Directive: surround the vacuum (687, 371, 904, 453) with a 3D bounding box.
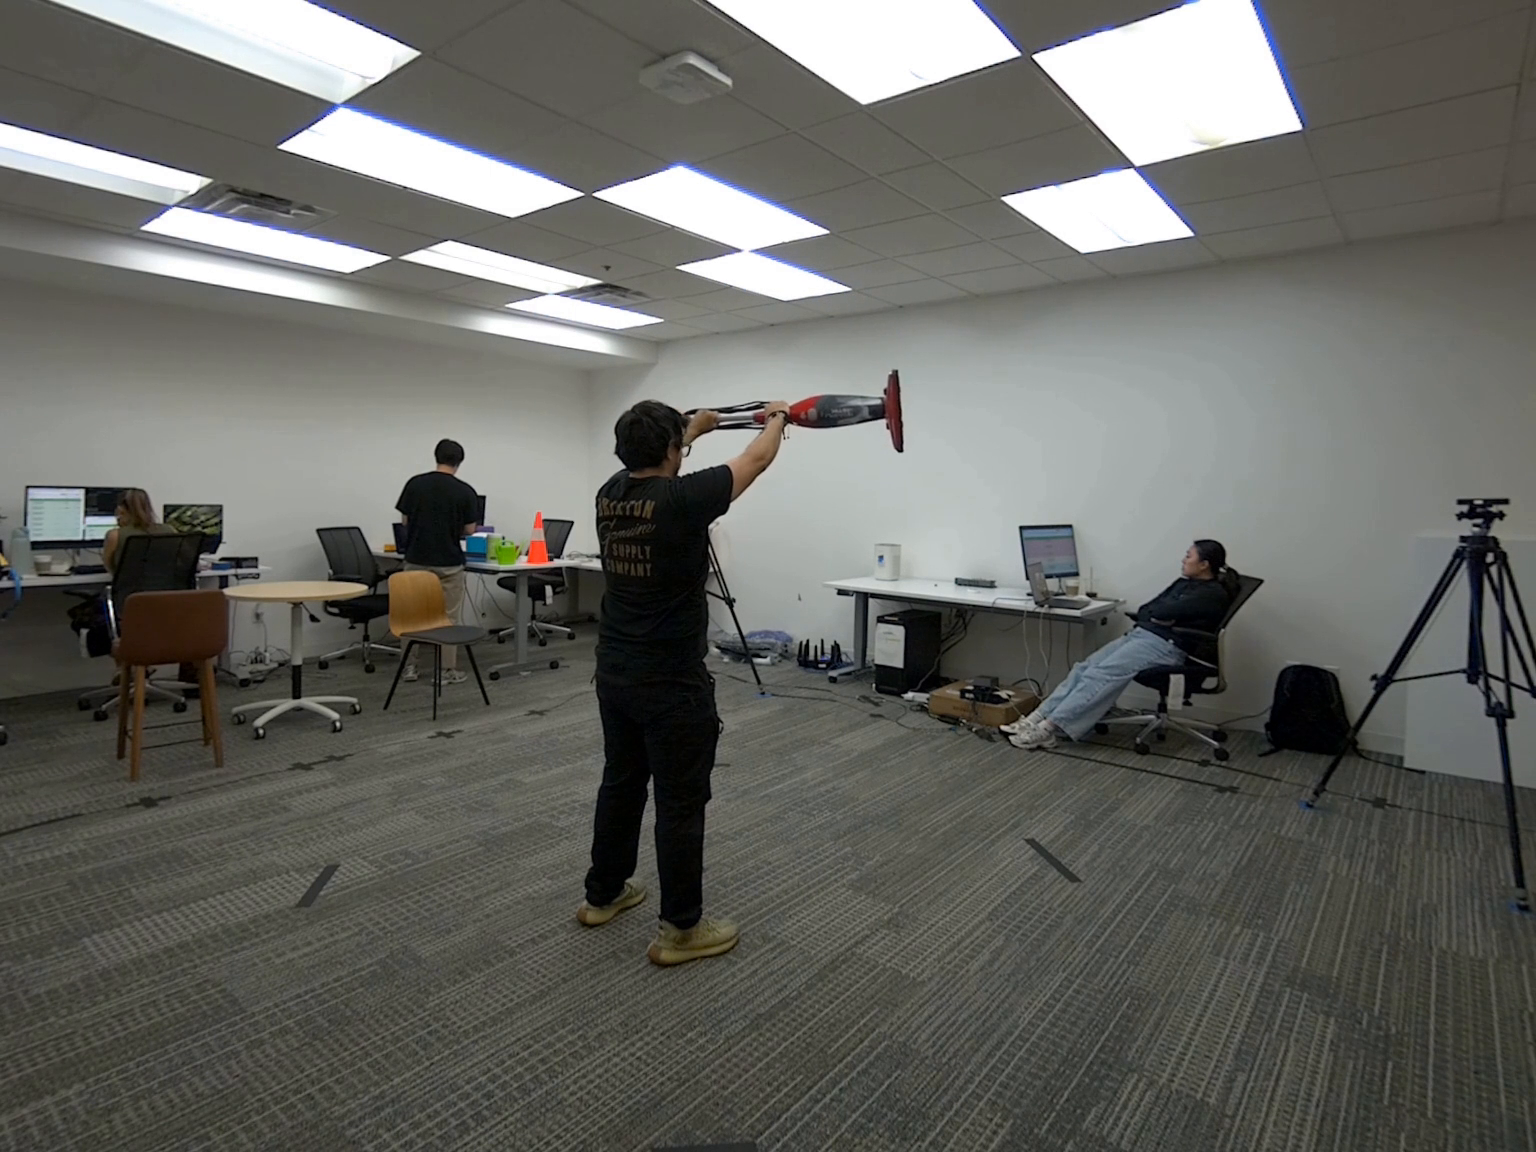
[{"bbox_3d":[-0.036,-0.561,2.957,1.083,0.248,0.142,5,21,35],"label":"vacuum"}]
